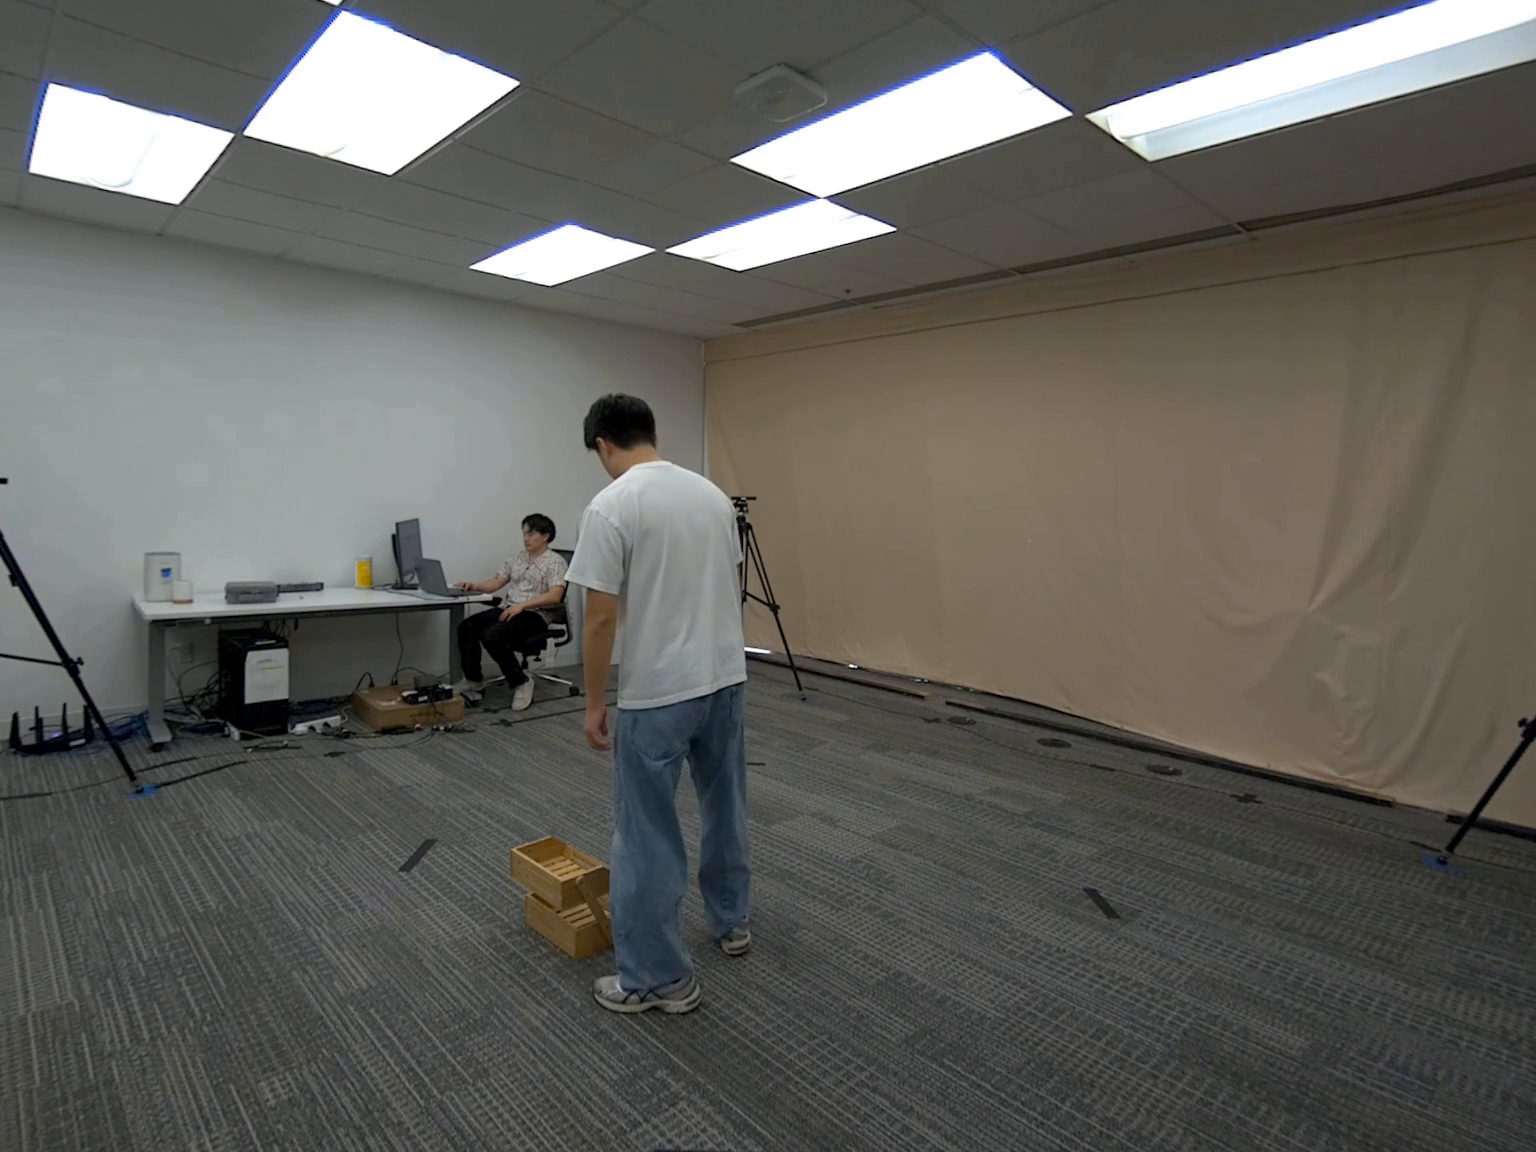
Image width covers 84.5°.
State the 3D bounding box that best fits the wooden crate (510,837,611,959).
[{"bbox_3d":[-0.614,0.999,2.684,0.333,0.272,0.295,5,7,44],"label":"wooden crate"}]
